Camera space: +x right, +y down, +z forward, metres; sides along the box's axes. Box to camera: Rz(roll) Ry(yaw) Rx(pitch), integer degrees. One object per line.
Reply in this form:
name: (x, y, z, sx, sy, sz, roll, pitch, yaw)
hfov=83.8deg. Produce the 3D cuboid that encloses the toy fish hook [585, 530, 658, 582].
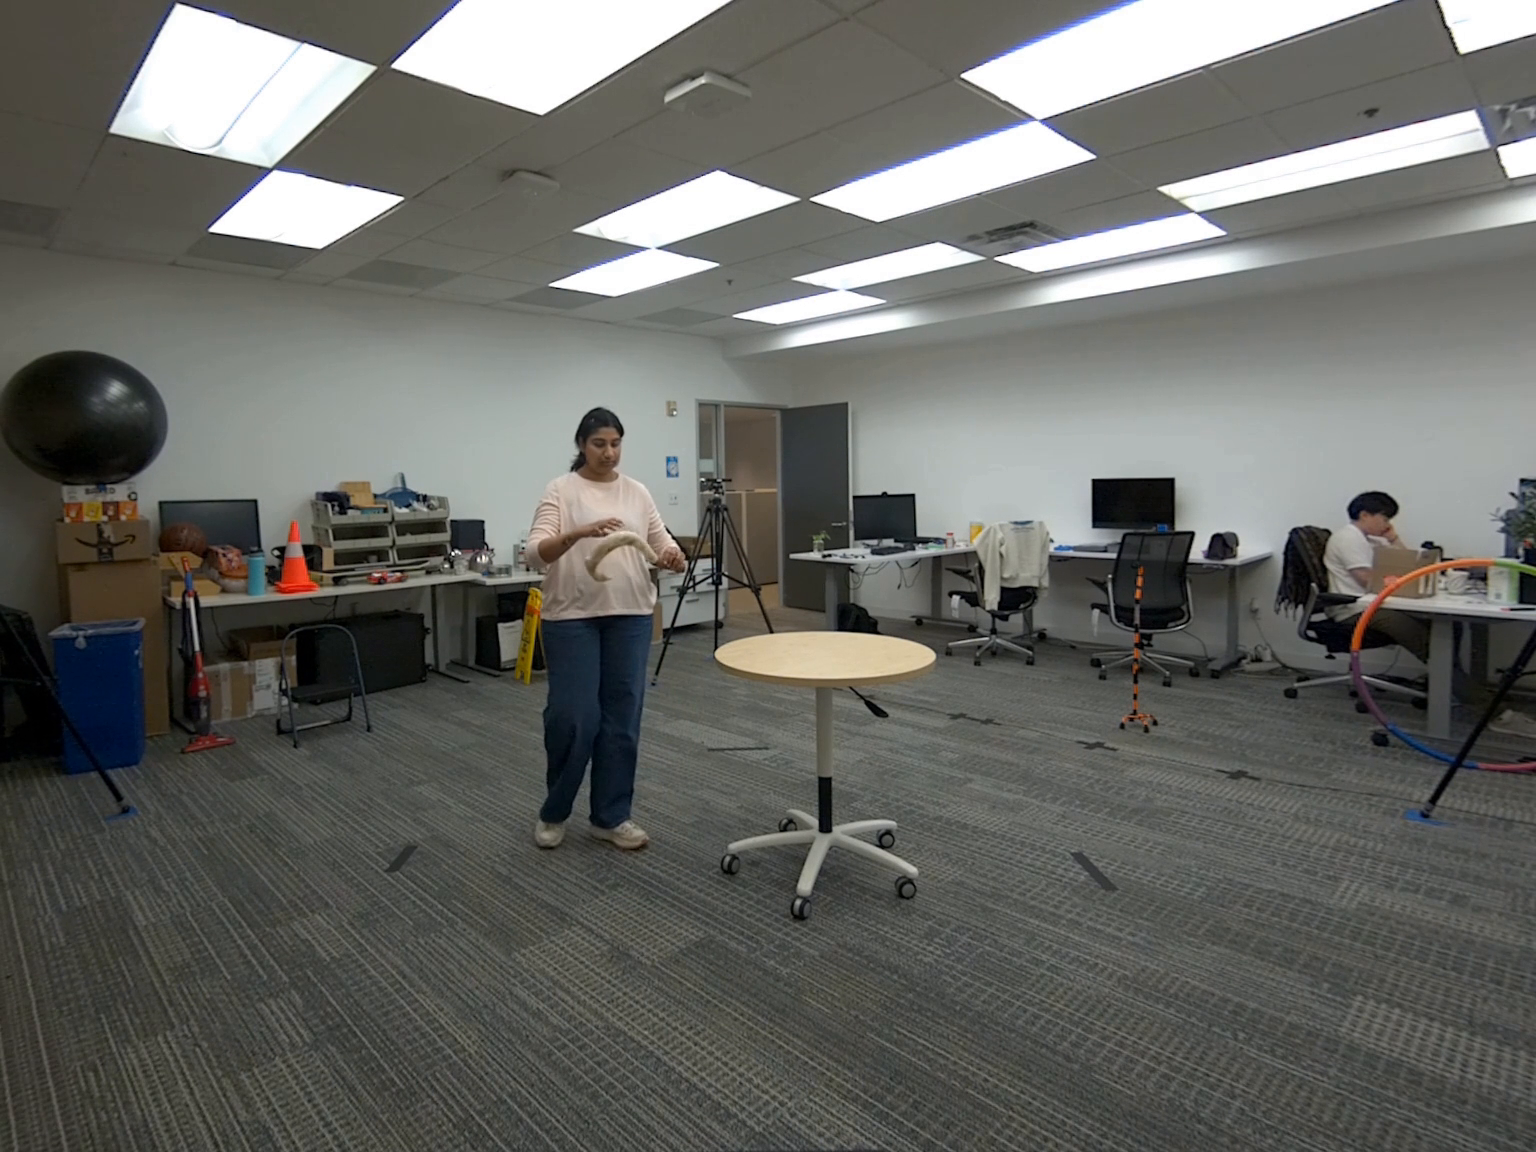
toy fish hook: (-0.485, -0.032, 3.060, 0.225, 0.050, 0.489, -42, -27, 10)
